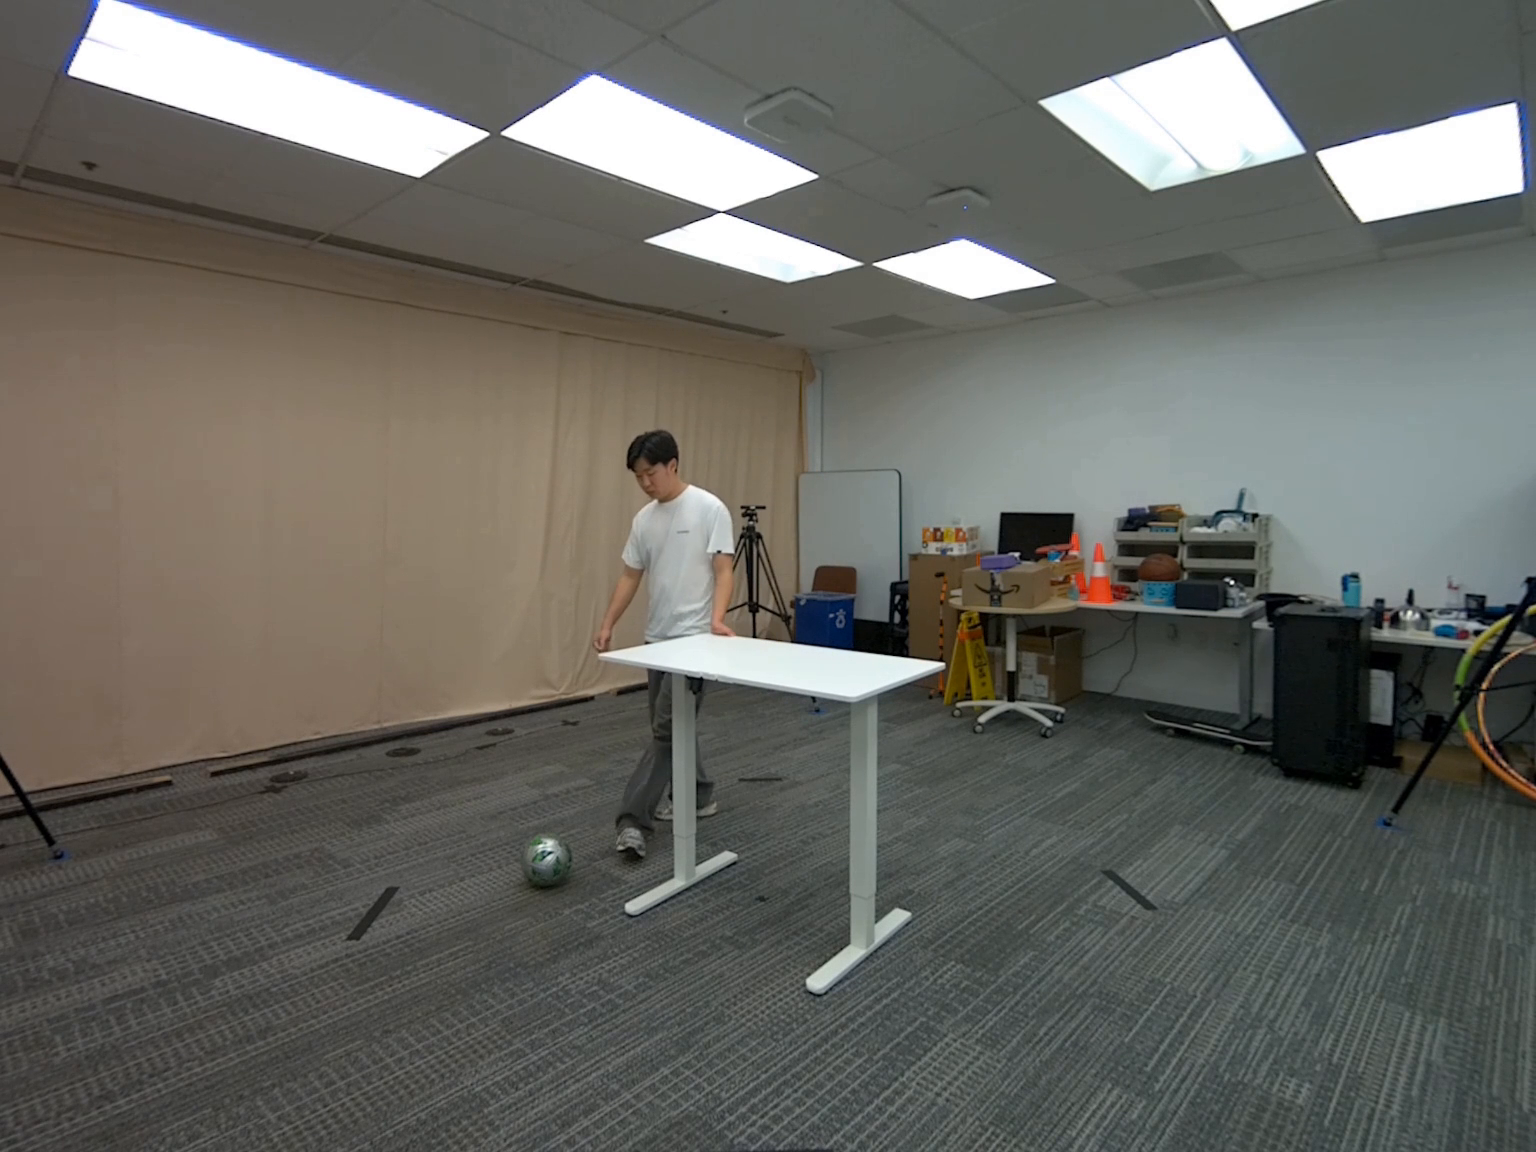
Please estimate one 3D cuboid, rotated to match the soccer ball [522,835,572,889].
[{"bbox_3d":[-0.816,1.058,3.108,0.187,0.187,0.188,0,4,-2],"label":"soccer ball"}]
